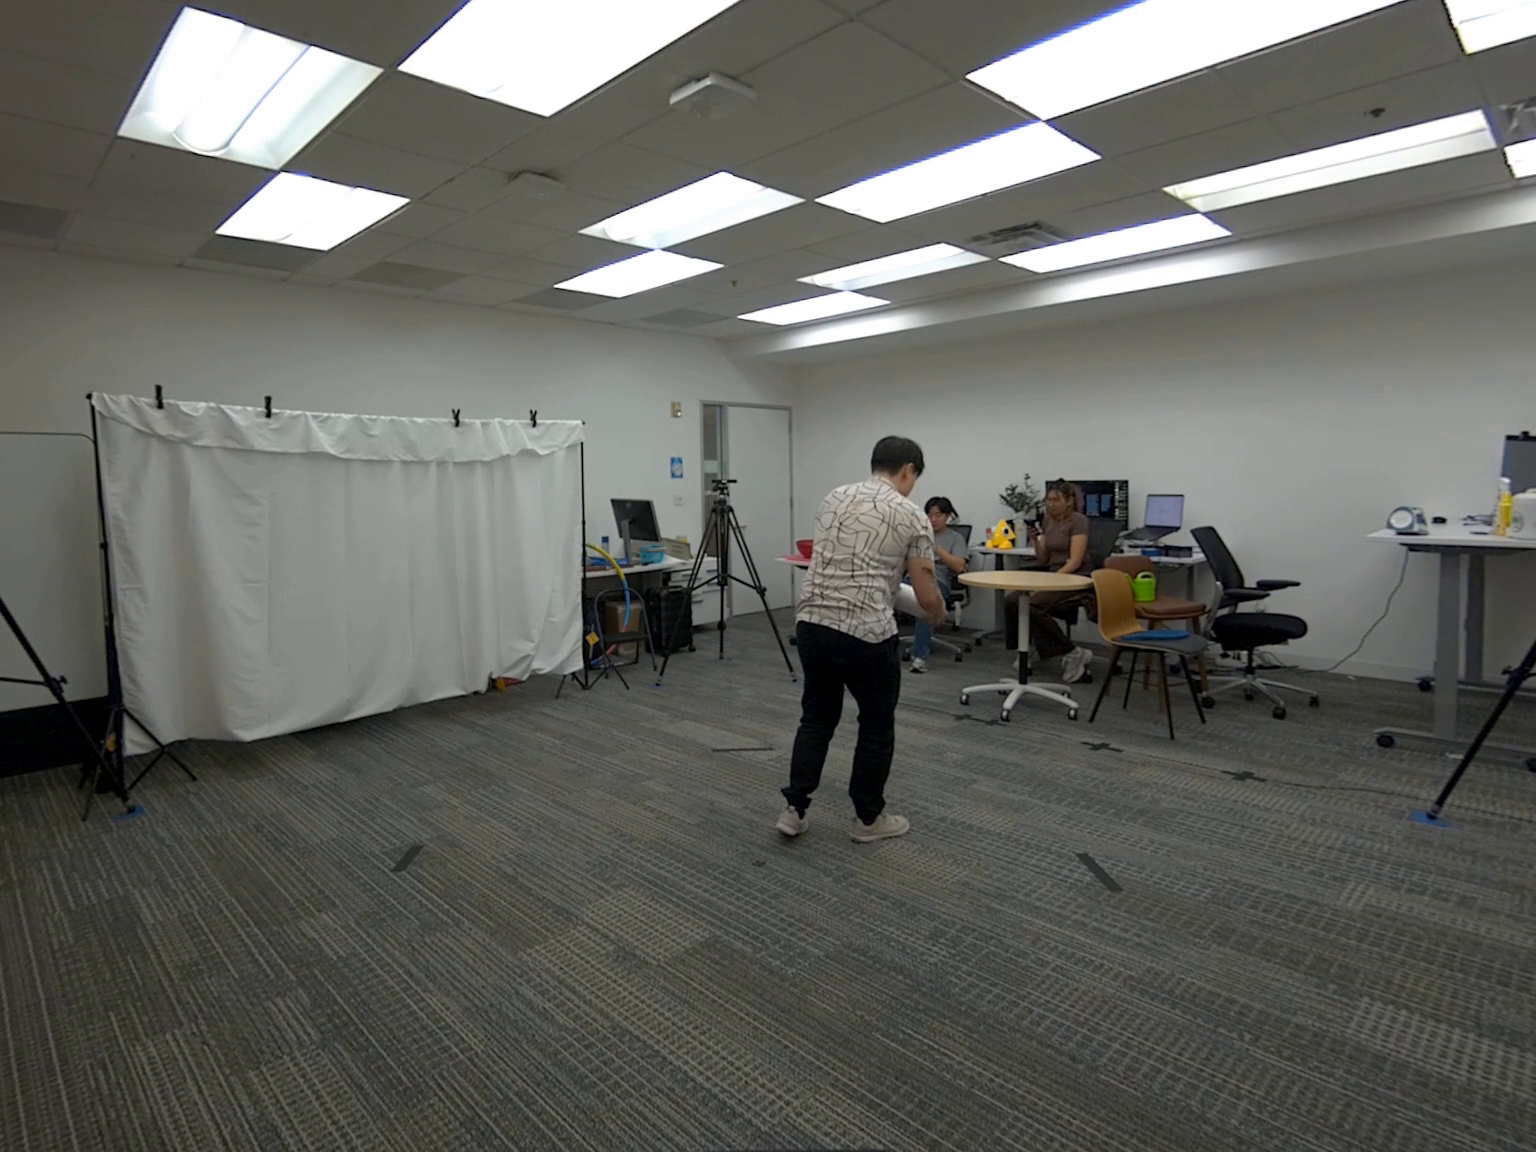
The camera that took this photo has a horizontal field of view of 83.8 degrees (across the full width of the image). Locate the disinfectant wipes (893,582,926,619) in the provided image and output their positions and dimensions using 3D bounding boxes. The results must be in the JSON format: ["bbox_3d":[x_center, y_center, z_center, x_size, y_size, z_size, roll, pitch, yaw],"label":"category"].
[{"bbox_3d":[0.631,0.115,3.563,0.115,0.116,0.225,-5,19,-40],"label":"disinfectant wipes"}]
